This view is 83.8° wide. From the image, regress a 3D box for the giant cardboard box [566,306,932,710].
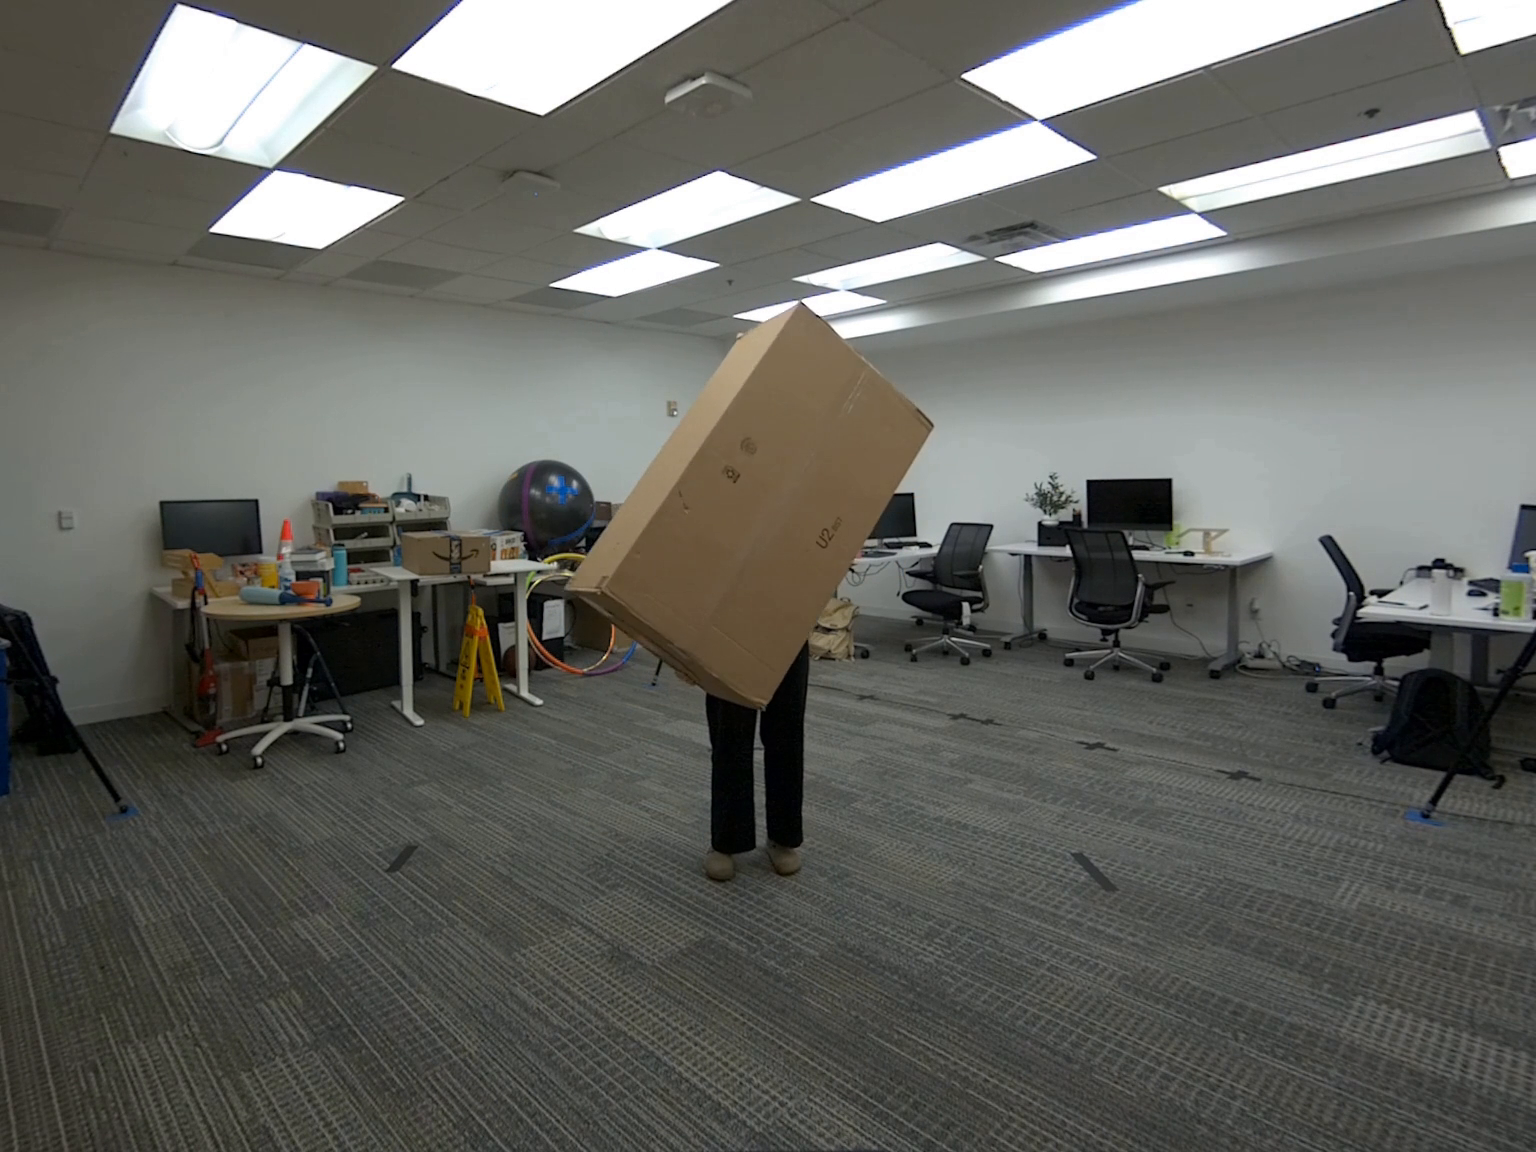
[{"bbox_3d":[-0.054,-0.202,2.586,0.564,1.029,0.435,37,-16,-19],"label":"giant cardboard box"}]
